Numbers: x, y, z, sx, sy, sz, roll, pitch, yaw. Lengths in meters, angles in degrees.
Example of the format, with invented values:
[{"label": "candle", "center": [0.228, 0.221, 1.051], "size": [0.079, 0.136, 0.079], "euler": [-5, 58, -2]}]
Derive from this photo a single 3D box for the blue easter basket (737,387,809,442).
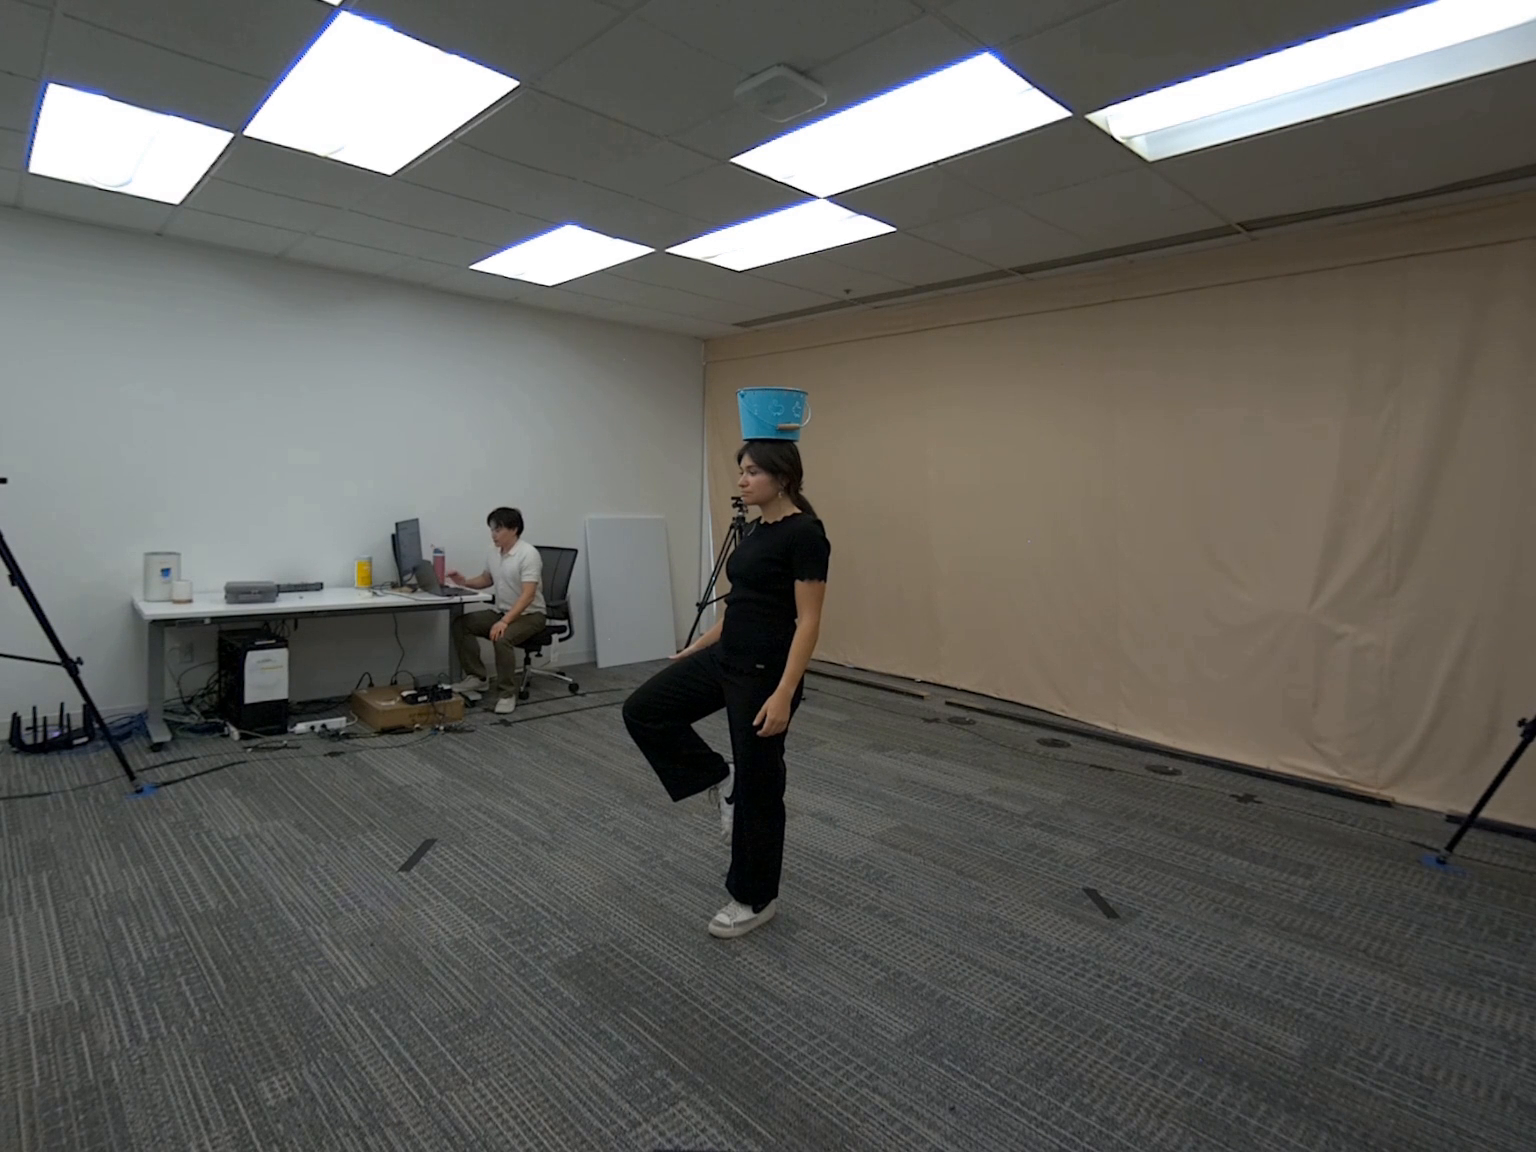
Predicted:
[{"label": "blue easter basket", "center": [0.012, -0.507, 2.664], "size": [0.243, 0.155, 0.244], "euler": [1, 4, -1]}]
